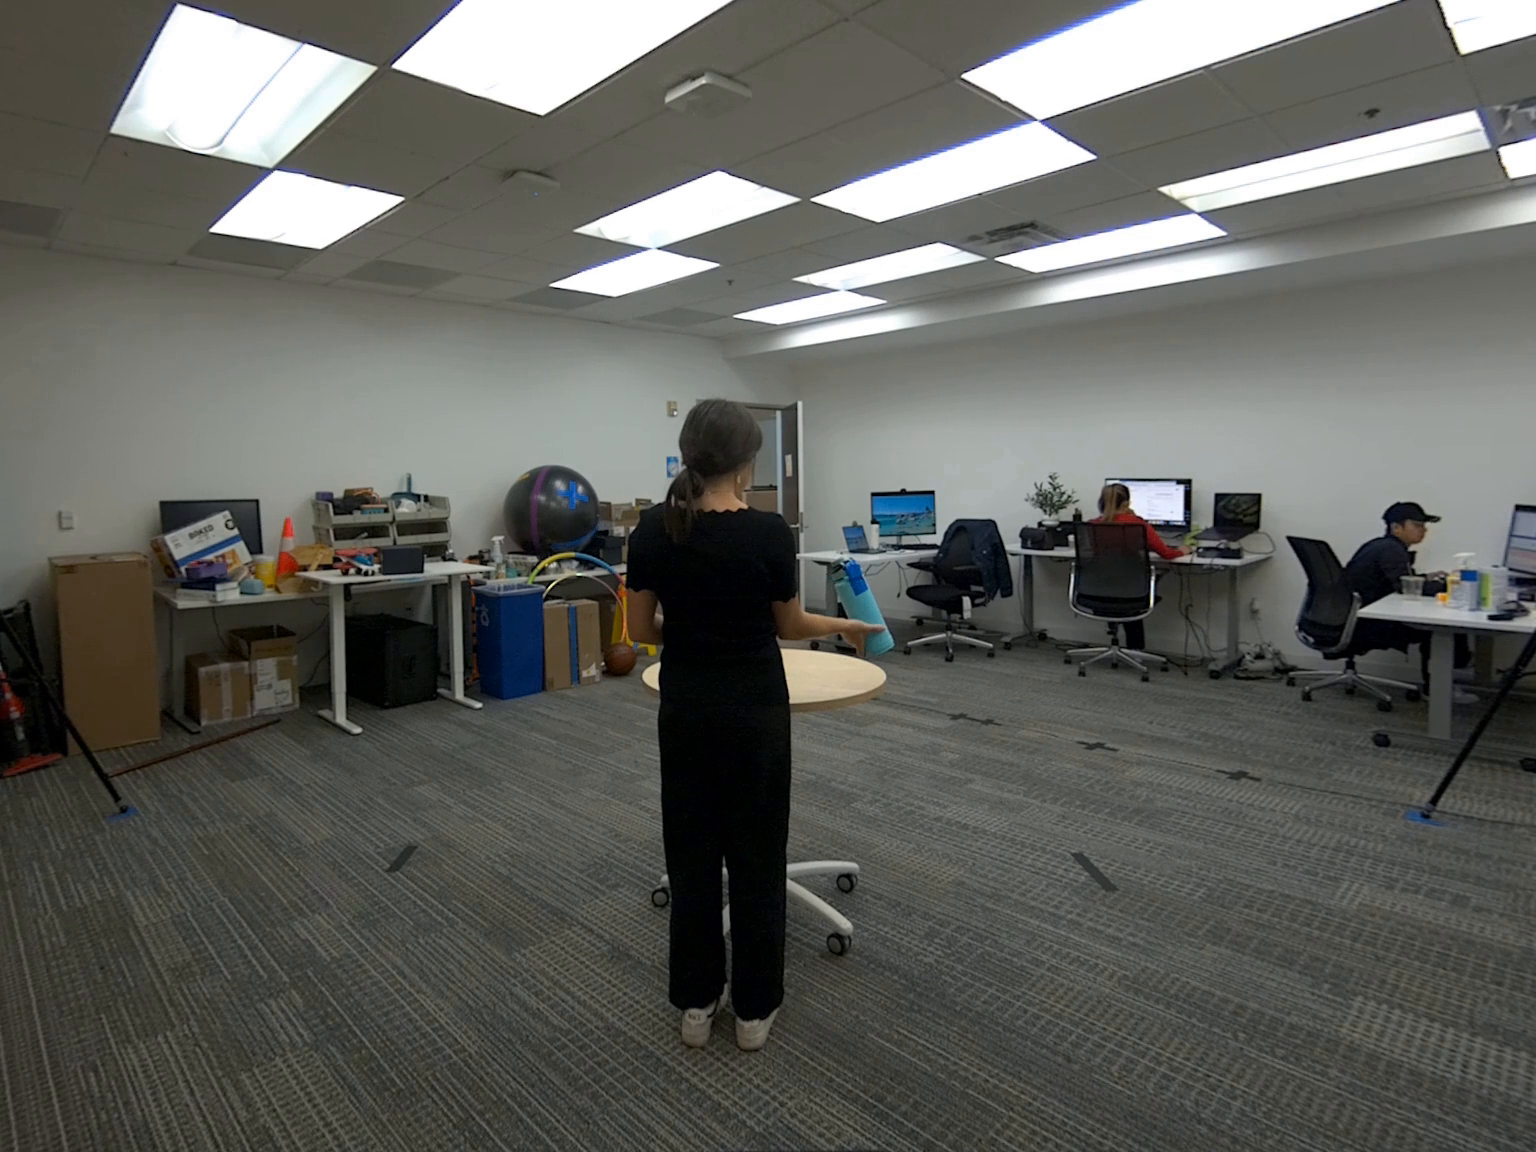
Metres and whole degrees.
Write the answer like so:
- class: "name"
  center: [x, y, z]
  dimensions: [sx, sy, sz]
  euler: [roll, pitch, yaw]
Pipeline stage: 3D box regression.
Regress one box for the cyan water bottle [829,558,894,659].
- class: "cyan water bottle"
  center: [0.260, 0.075, 2.394]
  dimensions: [0.092, 0.283, 0.092]
  euler: [-23, 1, -1]
